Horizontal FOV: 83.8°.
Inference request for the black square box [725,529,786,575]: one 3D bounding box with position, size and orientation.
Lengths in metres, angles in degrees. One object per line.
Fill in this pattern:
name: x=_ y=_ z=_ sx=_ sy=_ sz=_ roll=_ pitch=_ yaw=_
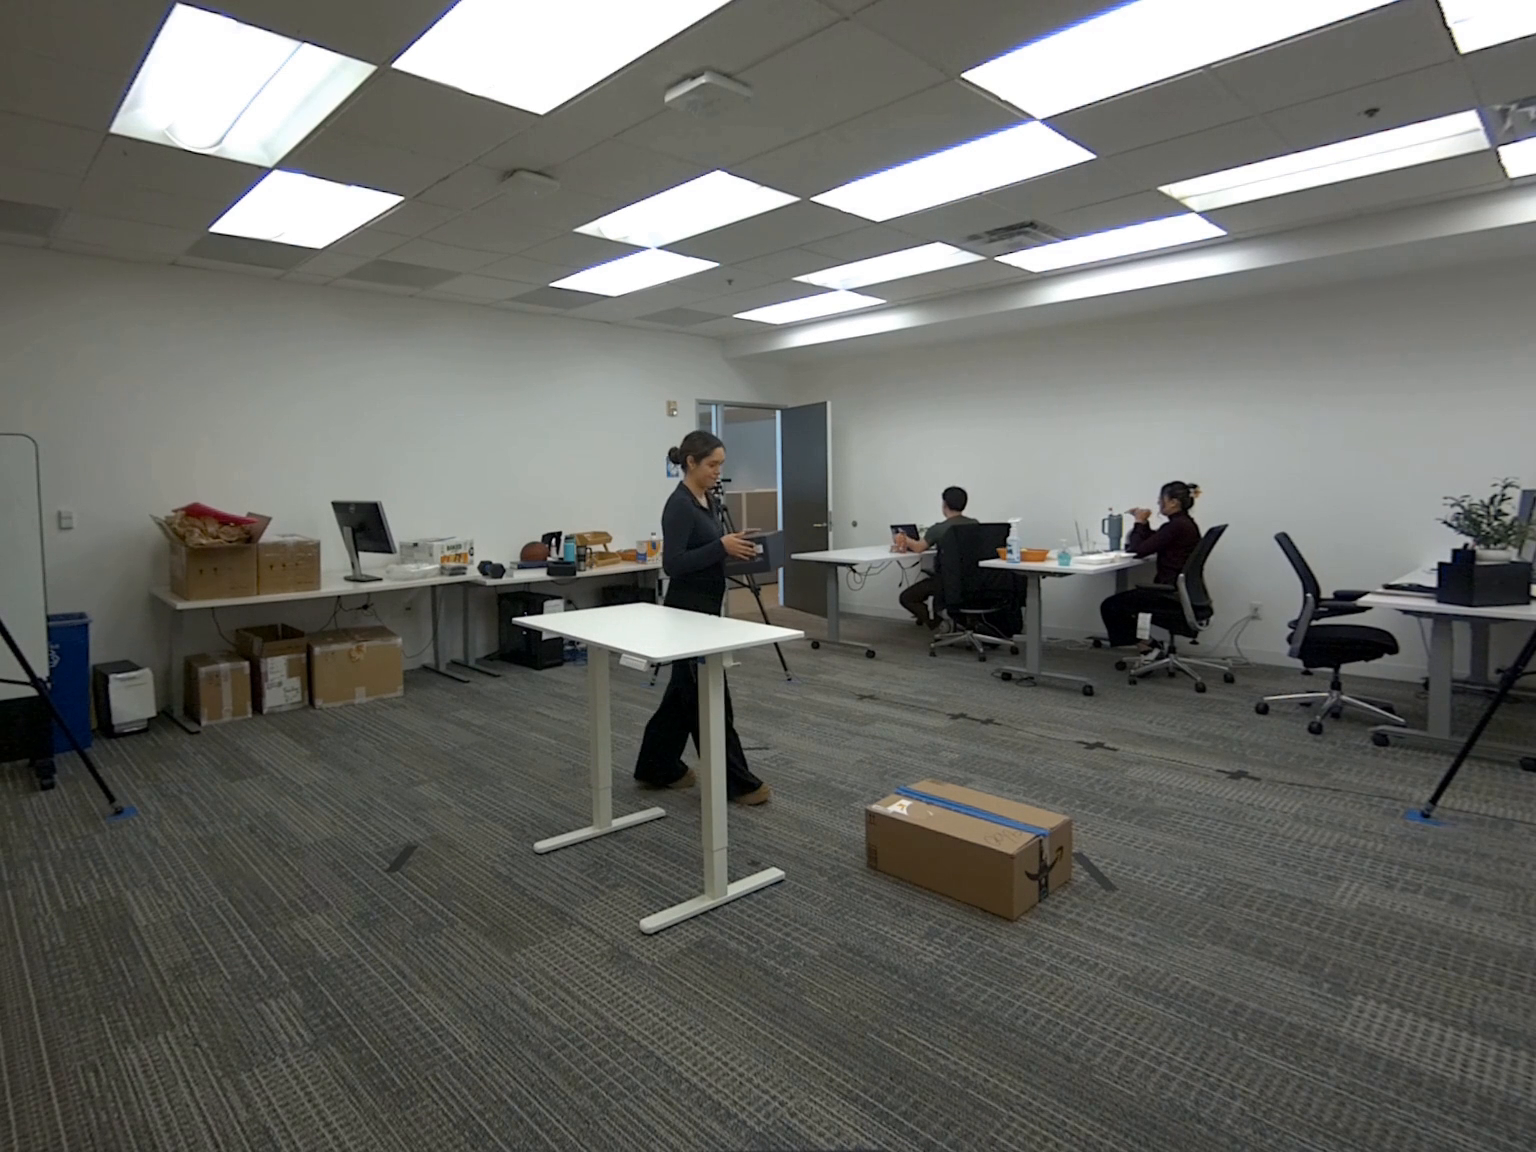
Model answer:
black square box: x=-0.065 y=-0.106 z=3.705 sx=0.220 sy=0.155 sz=0.225 roll=-4 pitch=6 yaw=18
